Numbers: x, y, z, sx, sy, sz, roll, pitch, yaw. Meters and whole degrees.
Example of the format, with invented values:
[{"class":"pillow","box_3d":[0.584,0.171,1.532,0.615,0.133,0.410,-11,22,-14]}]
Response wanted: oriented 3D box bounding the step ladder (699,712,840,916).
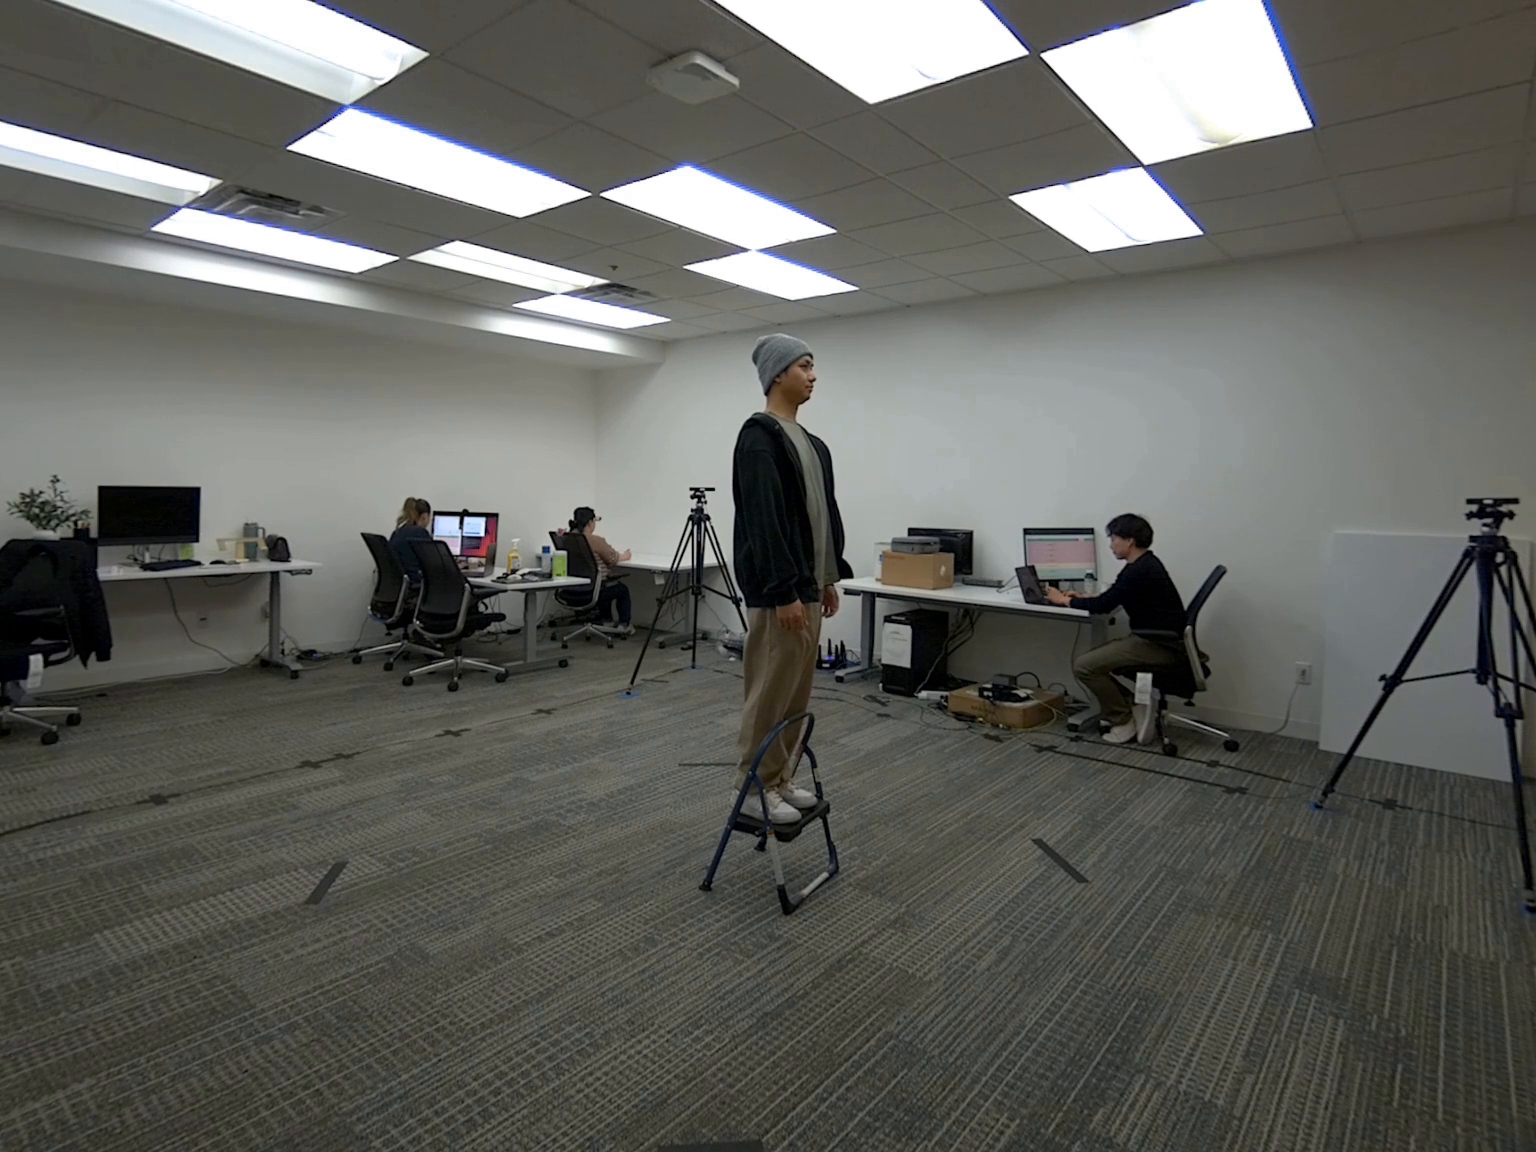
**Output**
[{"class":"step ladder","box_3d":[0.015,0.778,3.016,0.359,0.604,0.419,4,4,29]}]
